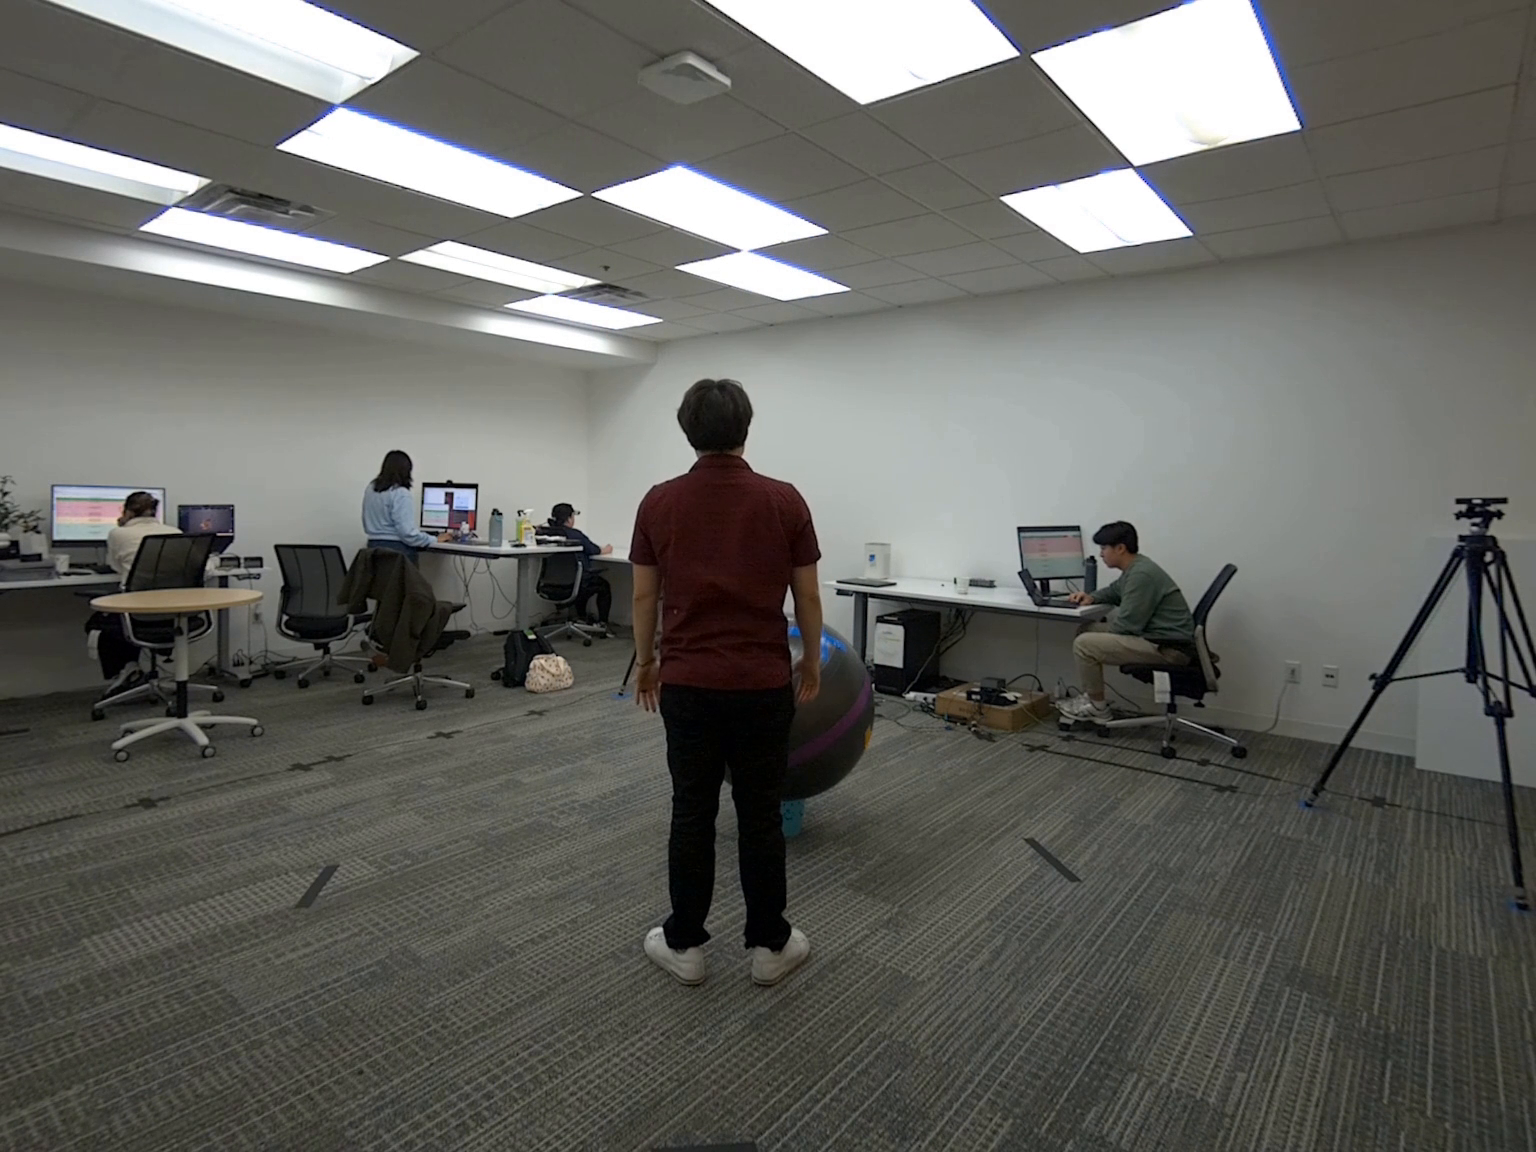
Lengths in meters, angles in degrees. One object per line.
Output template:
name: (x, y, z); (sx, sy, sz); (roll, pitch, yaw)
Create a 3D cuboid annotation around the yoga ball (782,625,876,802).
yoga ball: (0.051, 0.528, 3.481); (0.757, 0.756, 0.762); (1, 4, -2)
